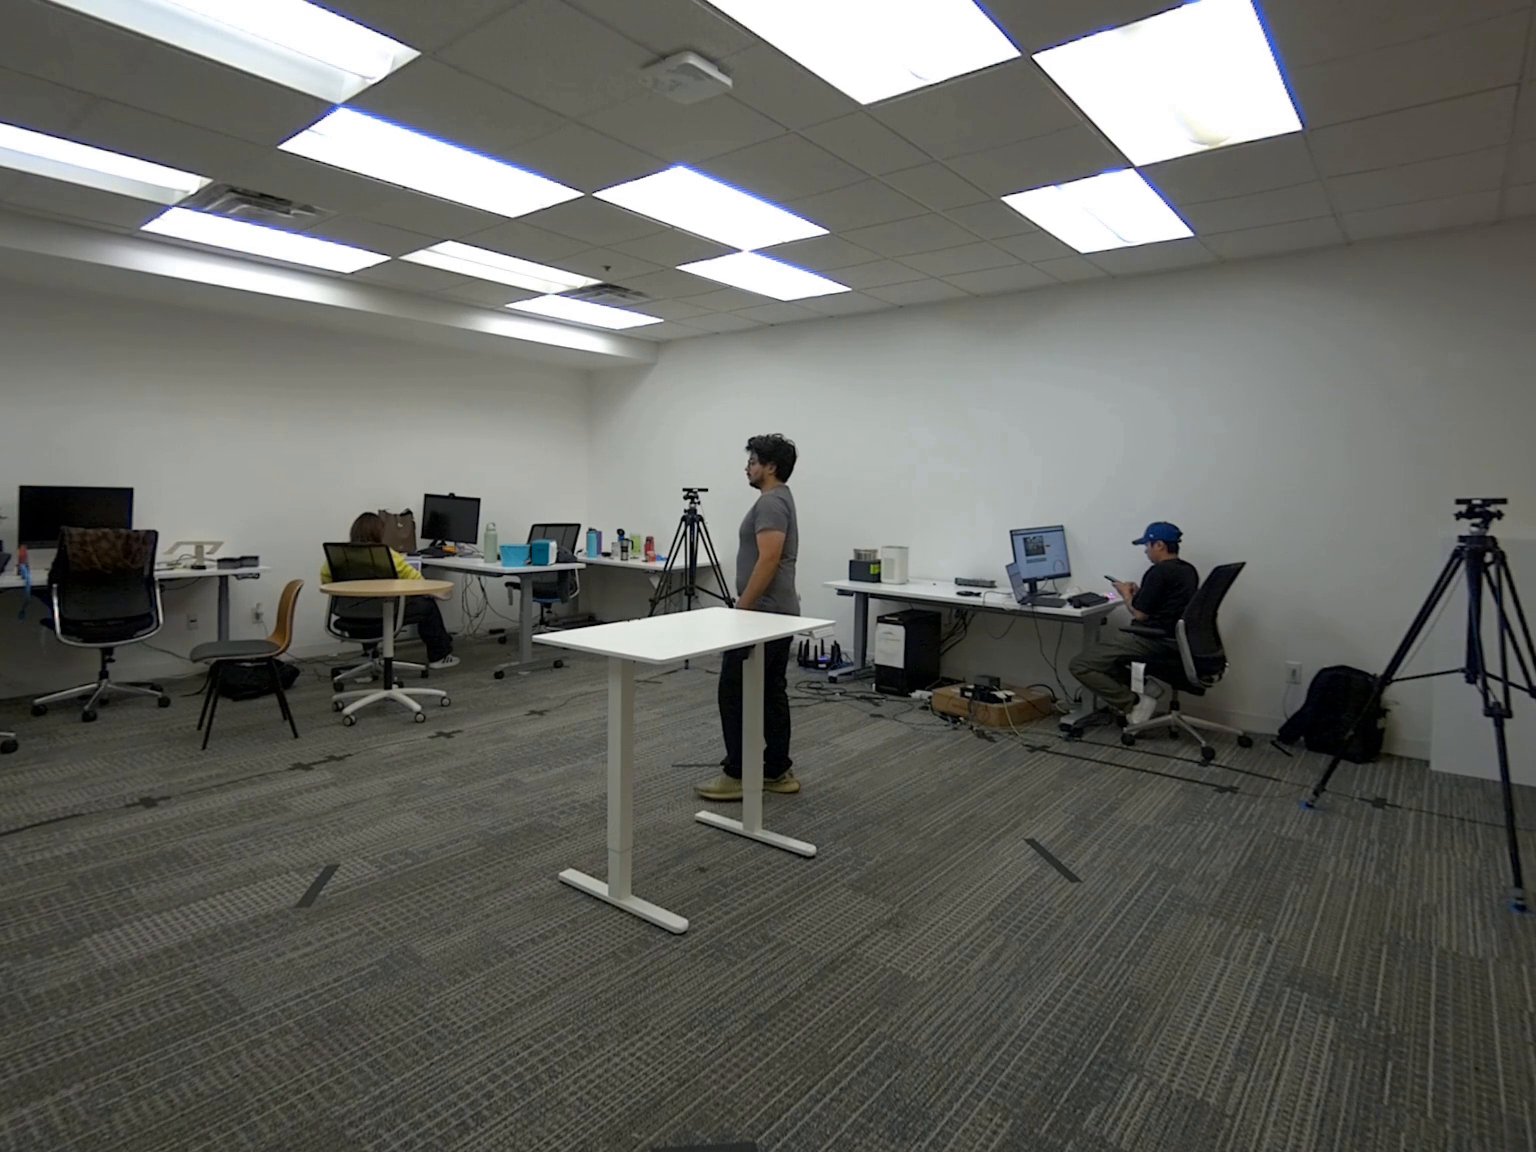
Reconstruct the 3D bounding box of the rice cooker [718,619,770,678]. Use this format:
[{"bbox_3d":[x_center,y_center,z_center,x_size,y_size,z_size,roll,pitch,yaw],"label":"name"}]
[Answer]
[{"bbox_3d":[-0.119,0.361,4.212,0.219,0.231,0.221,-5,7,-8],"label":"rice cooker"}]
